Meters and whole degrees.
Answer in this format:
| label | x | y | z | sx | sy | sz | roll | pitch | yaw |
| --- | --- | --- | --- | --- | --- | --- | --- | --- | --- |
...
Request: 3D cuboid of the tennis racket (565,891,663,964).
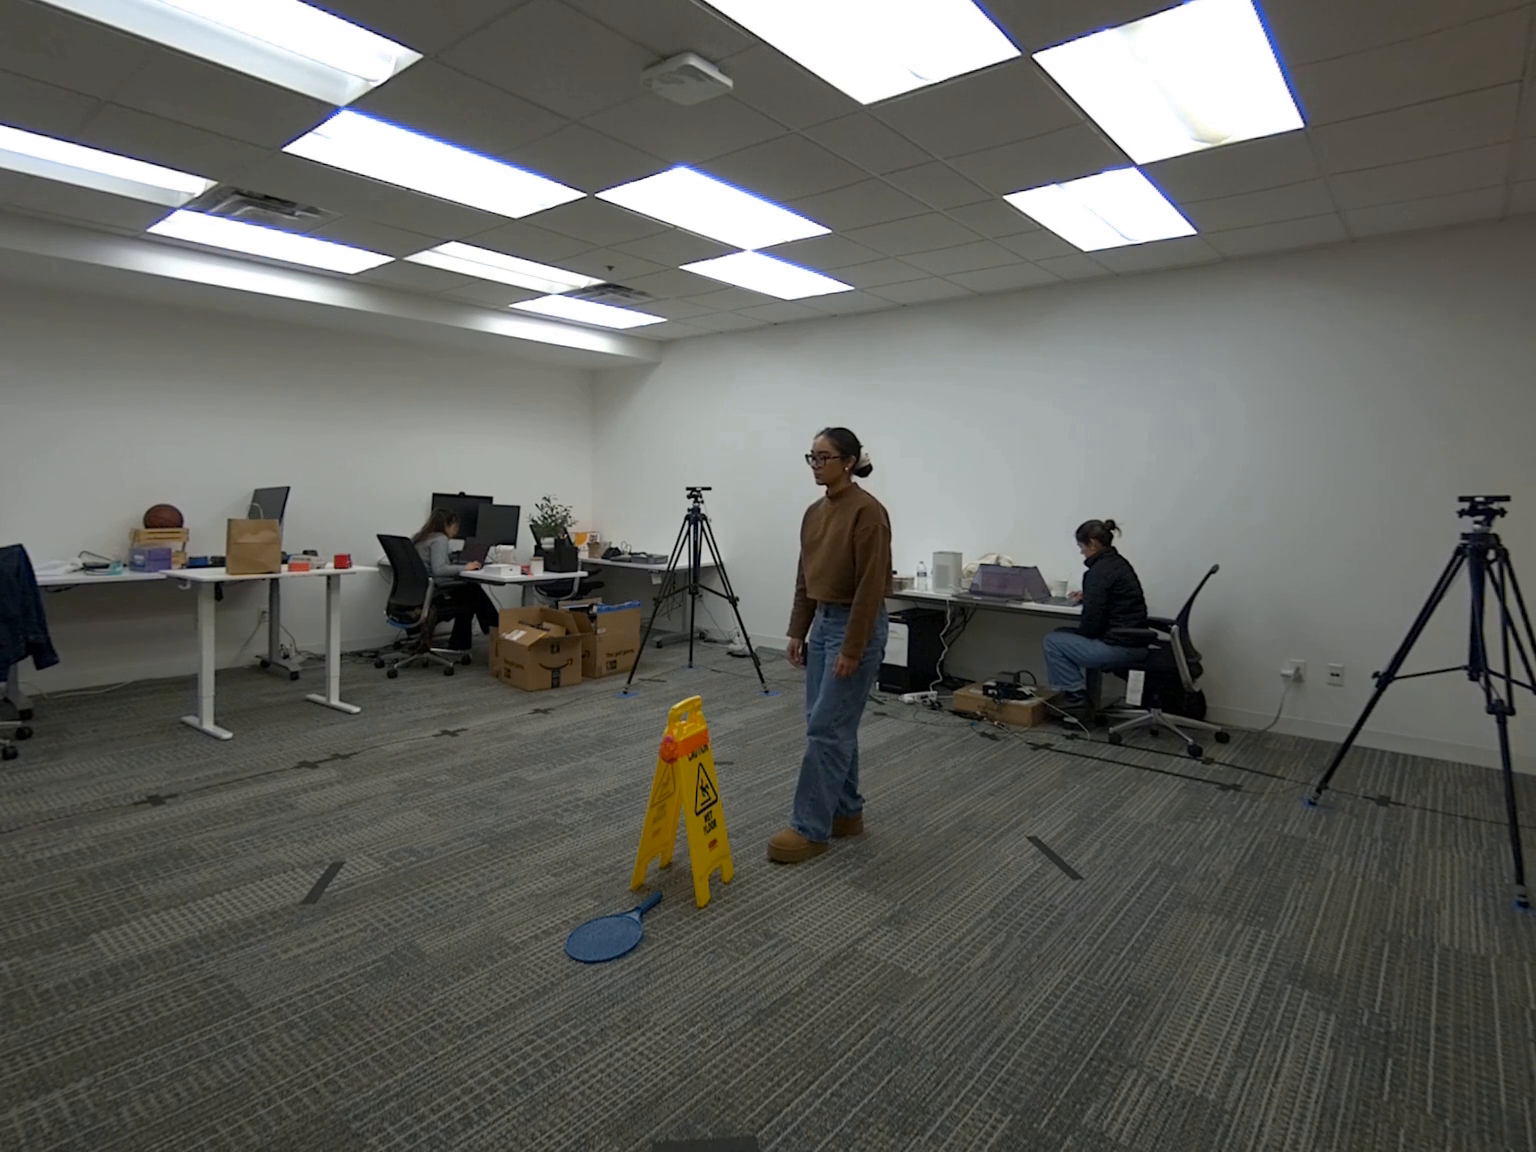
| label | x | y | z | sx | sy | sz | roll | pitch | yaw |
| --- | --- | --- | --- | --- | --- | --- | --- | --- | --- |
| tennis racket | -0.466 | 1.090 | 2.675 | 0.220 | 0.031 | 0.423 | 3 | 8 | 27 |
